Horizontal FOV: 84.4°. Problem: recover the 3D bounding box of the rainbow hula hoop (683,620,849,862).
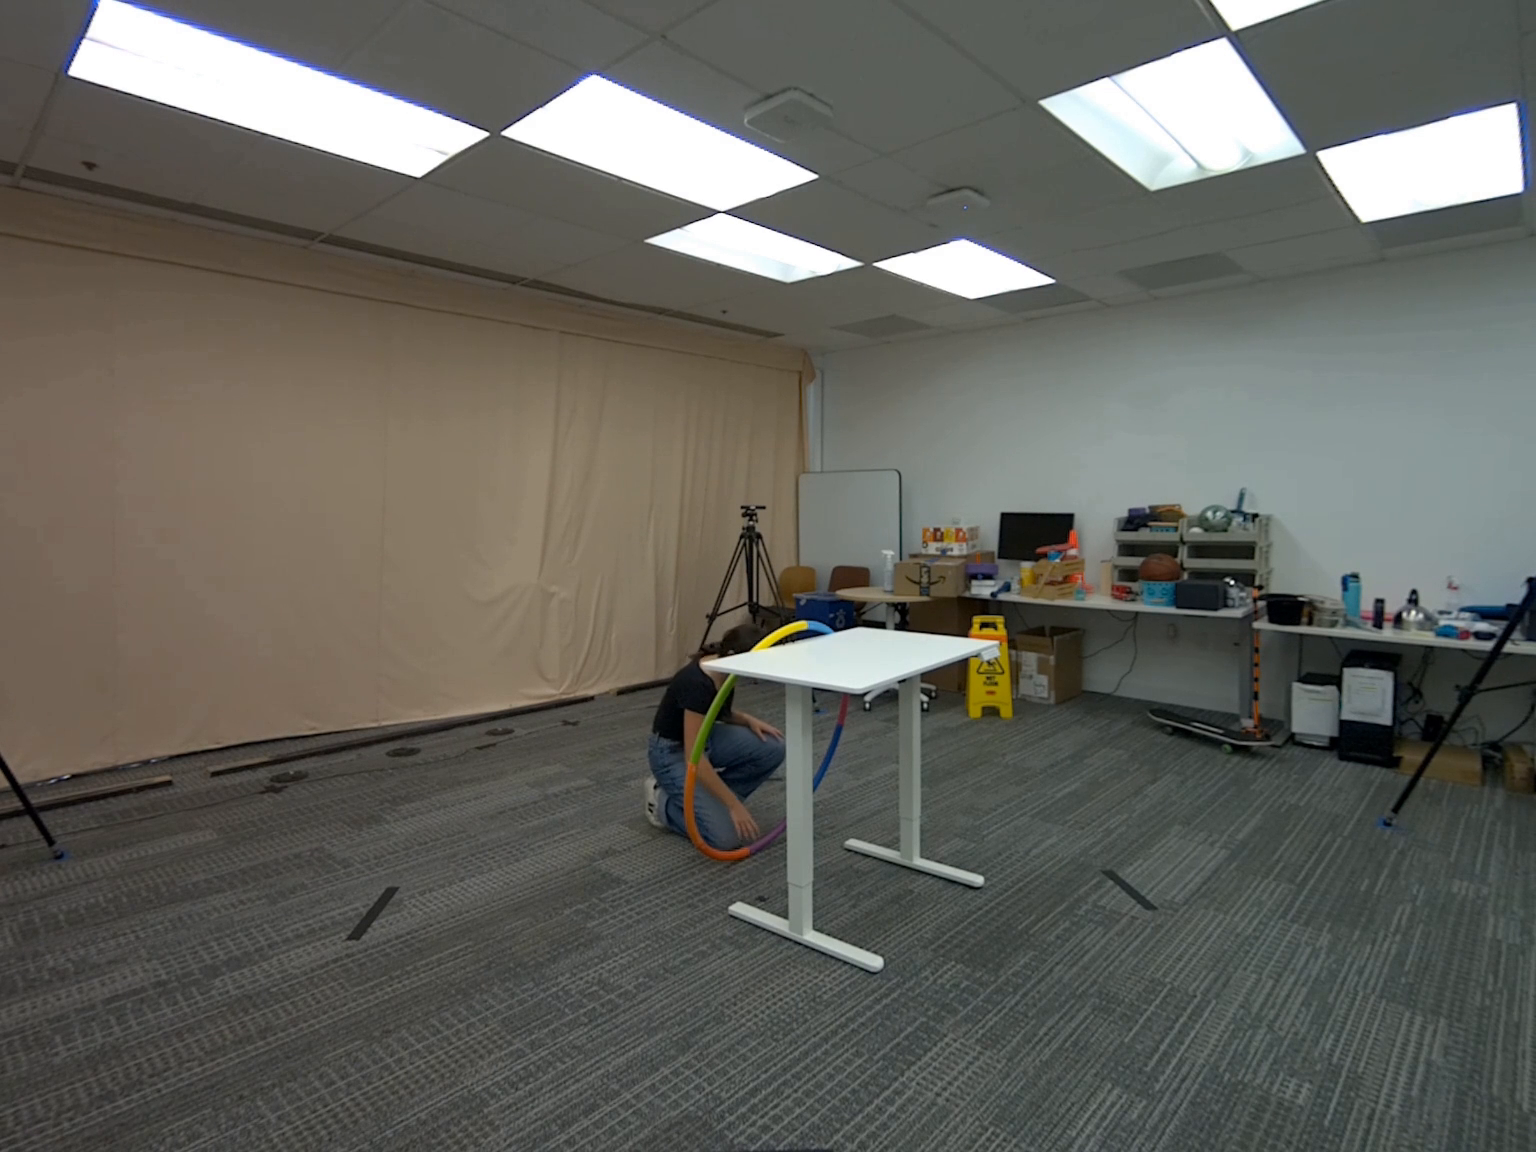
[{"bbox_3d":[0.023,0.640,3.285,0.037,0.973,0.949,21,16,36],"label":"rainbow hula hoop"}]
